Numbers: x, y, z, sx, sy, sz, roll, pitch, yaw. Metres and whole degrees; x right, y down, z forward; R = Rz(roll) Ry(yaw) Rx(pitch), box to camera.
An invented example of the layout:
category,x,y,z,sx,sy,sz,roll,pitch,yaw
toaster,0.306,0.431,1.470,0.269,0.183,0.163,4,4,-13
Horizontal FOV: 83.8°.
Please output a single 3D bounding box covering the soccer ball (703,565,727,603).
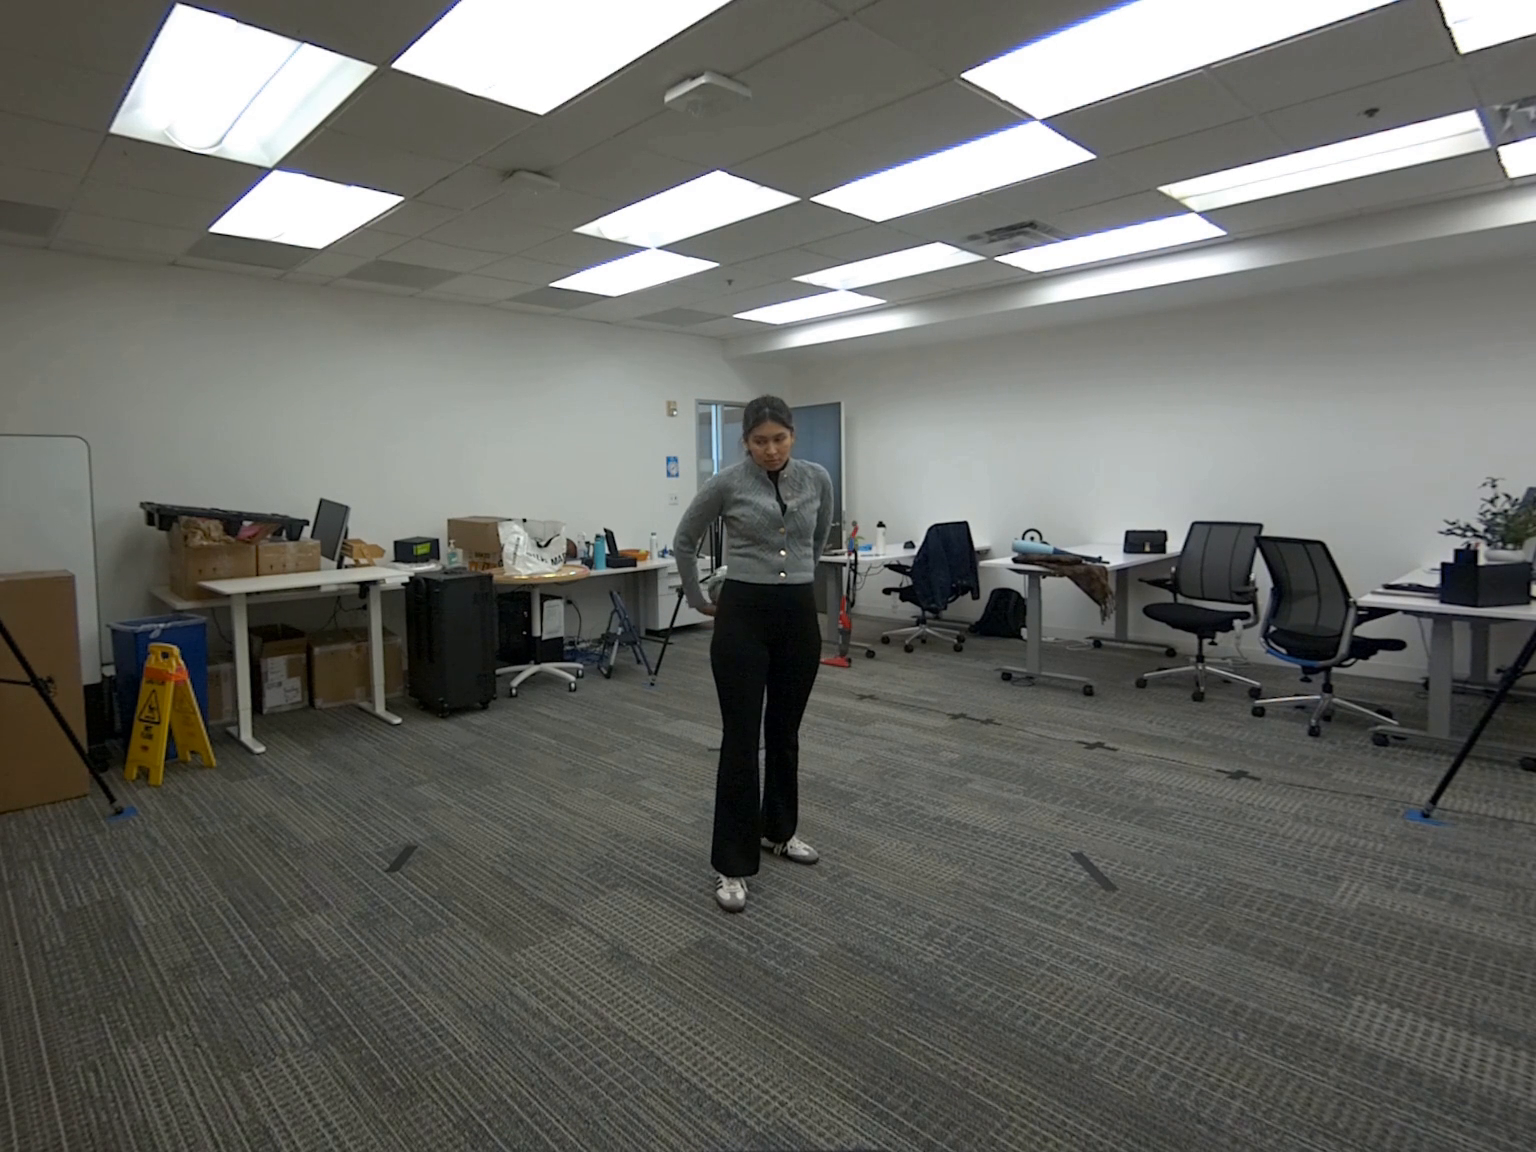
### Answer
category,x,y,z,sx,sy,sz,roll,pitch,yaw
soccer ball,-0.128,0.051,3.200,0.187,0.187,0.188,-1,5,-2
